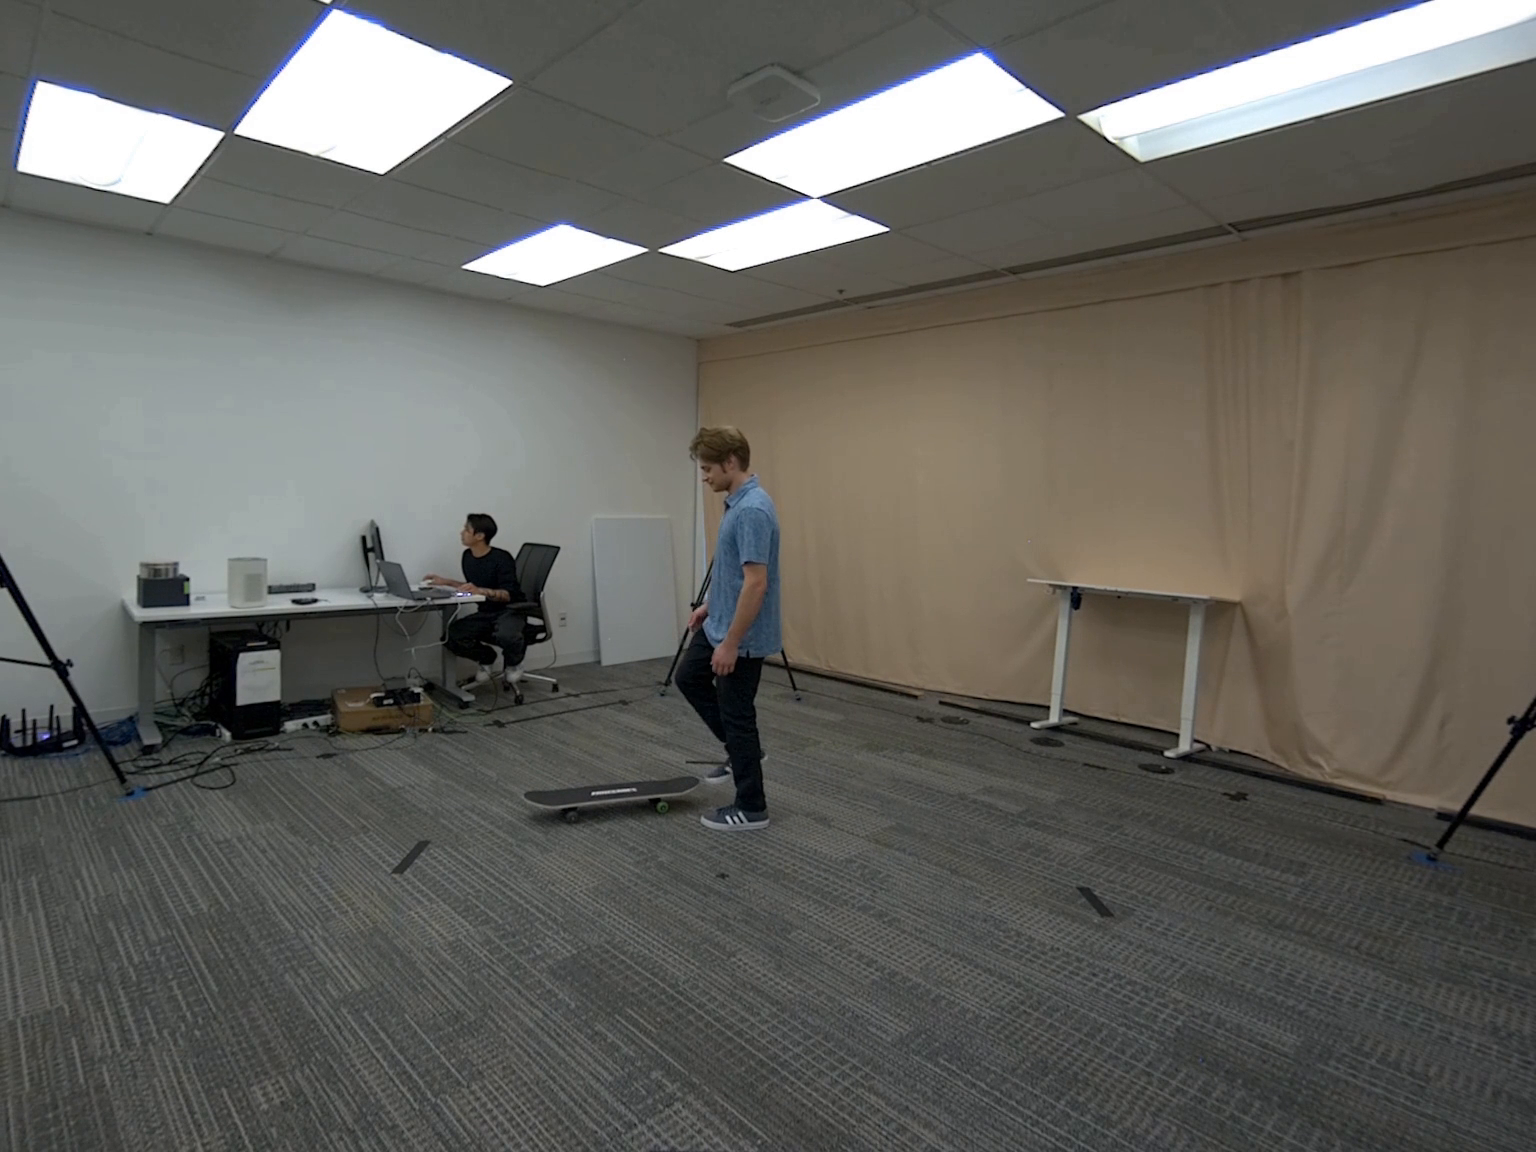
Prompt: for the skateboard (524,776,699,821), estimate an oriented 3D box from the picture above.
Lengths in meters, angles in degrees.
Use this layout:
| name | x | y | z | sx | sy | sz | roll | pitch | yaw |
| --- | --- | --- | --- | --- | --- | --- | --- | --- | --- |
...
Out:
| name | x | y | z | sx | sy | sz | roll | pitch | yaw |
| --- | --- | --- | --- | --- | --- | --- | --- | --- | --- |
| skateboard | -0.684 | 0.984 | 3.715 | 0.773 | 0.110 | 0.197 | 0 | 5 | -21 |
